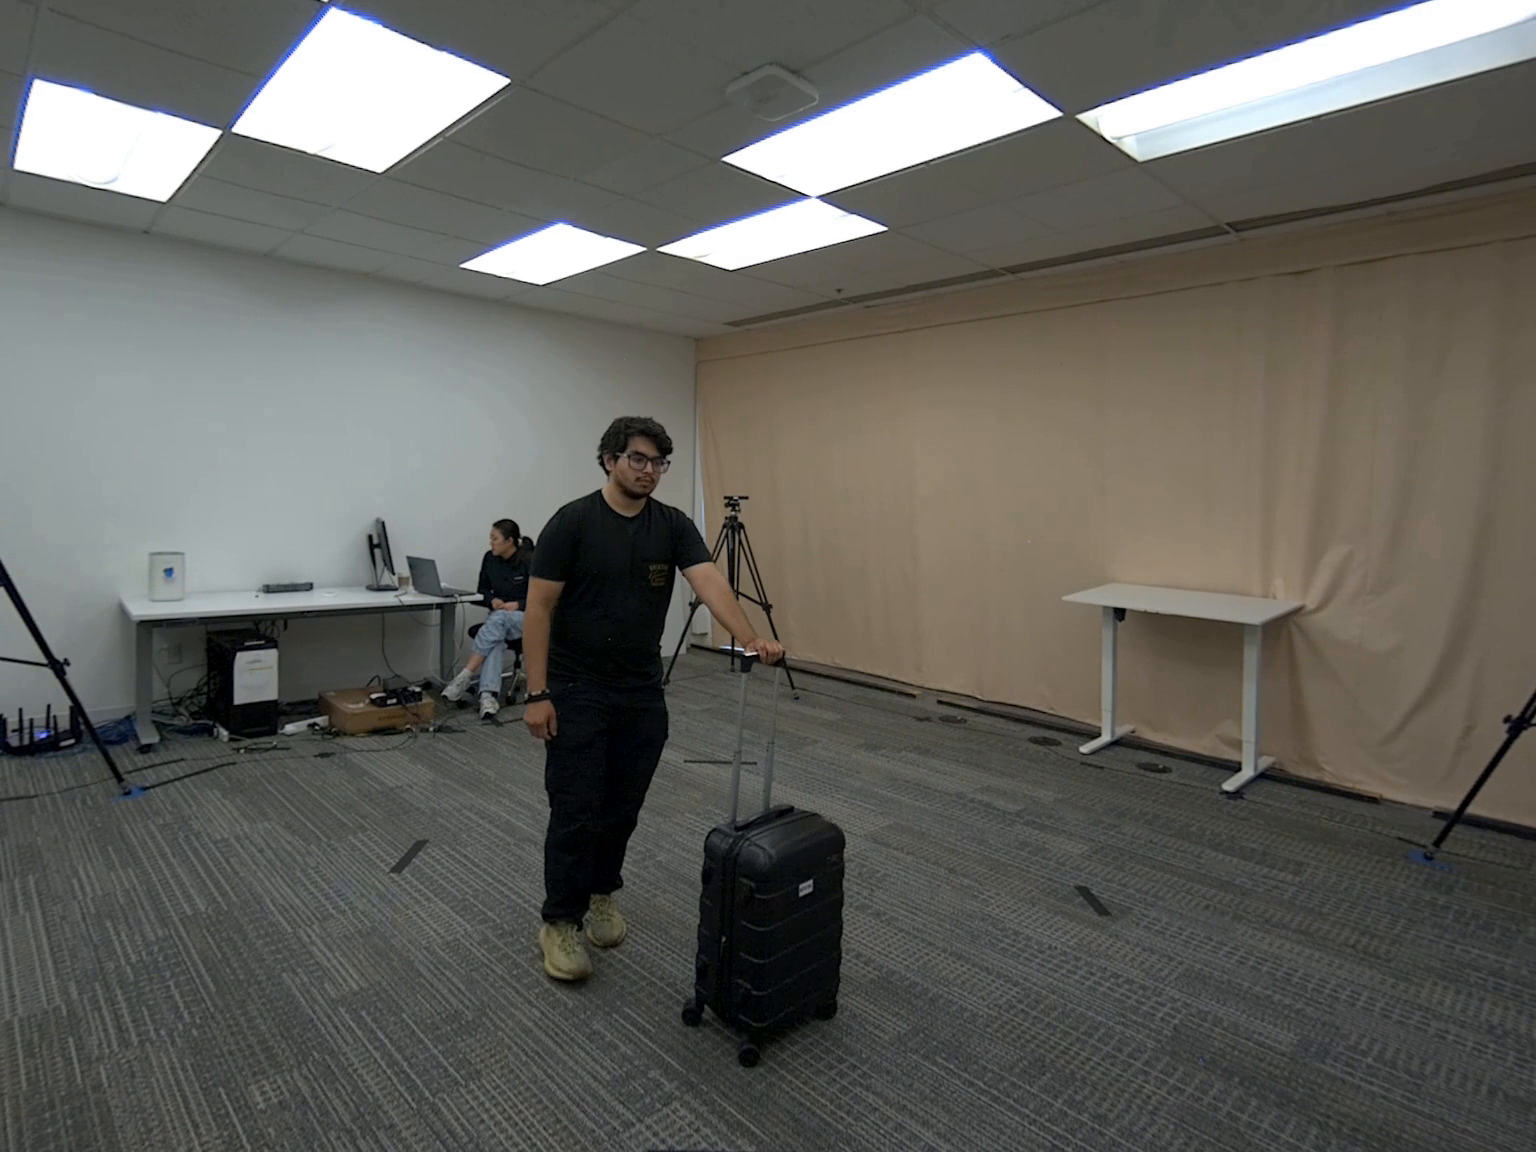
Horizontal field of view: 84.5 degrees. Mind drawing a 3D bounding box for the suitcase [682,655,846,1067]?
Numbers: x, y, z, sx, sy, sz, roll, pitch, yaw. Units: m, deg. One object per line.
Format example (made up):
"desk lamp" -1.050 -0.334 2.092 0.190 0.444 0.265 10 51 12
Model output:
"suitcase" 0.029 0.717 2.211 0.375 0.975 0.264 1 7 -44
